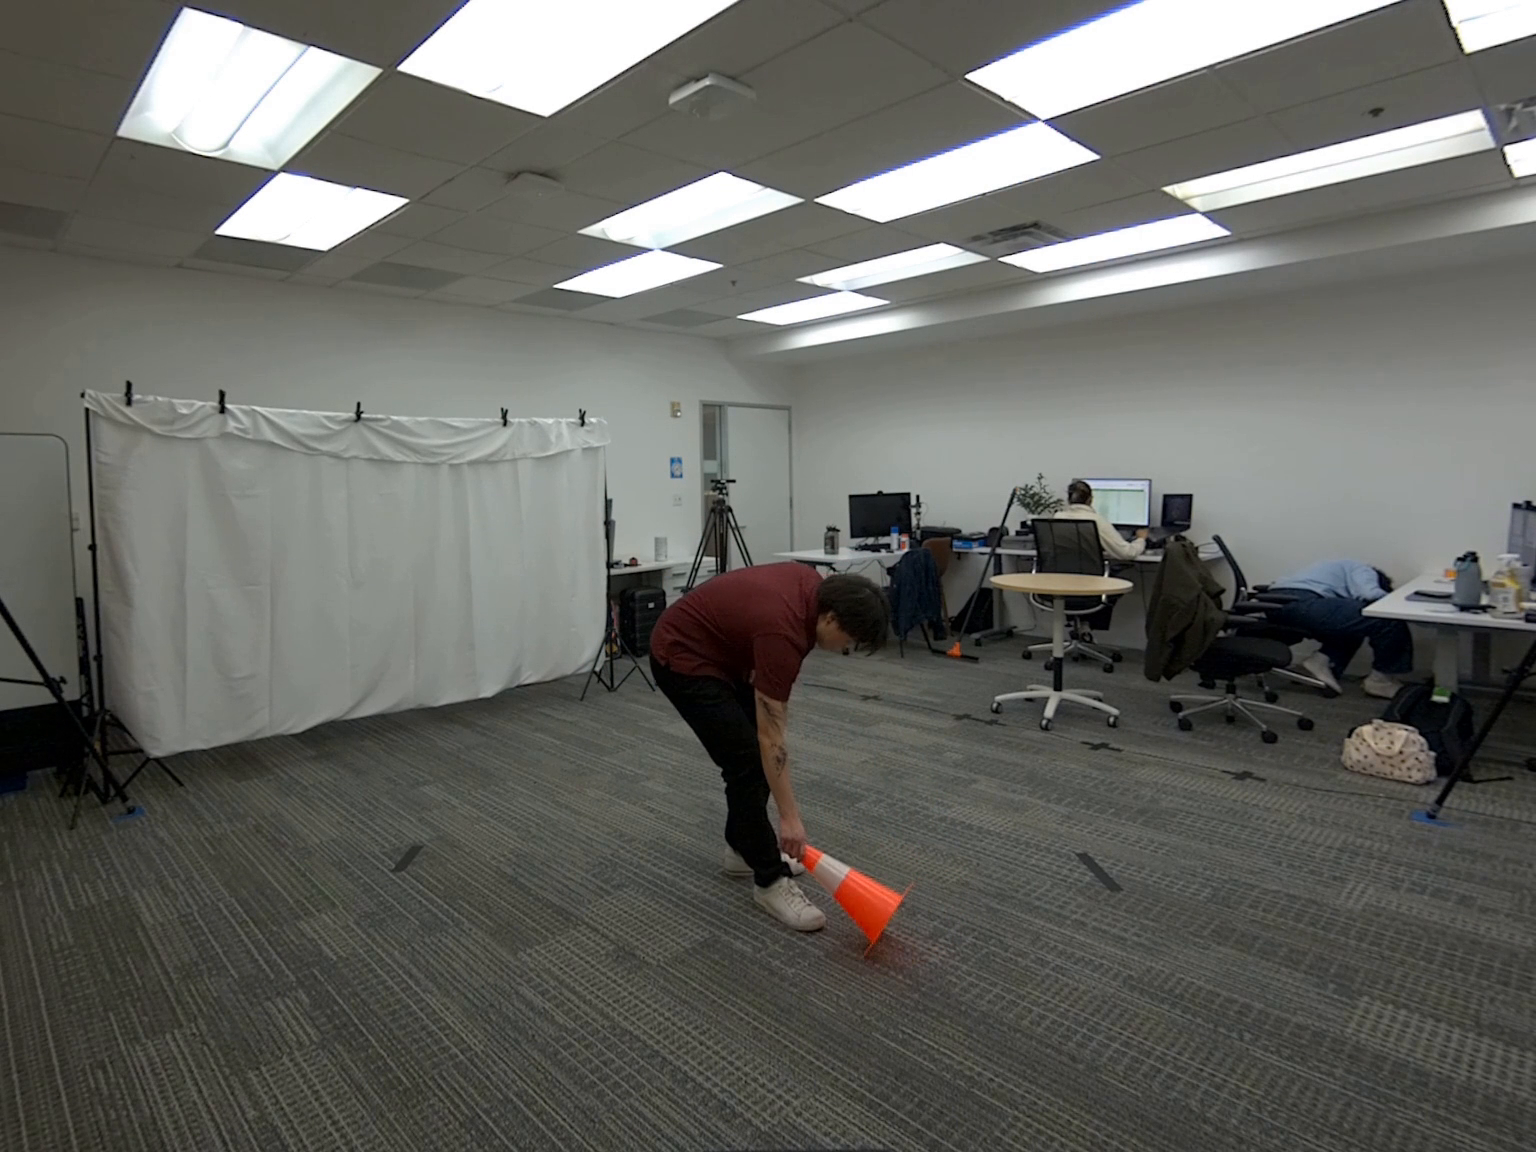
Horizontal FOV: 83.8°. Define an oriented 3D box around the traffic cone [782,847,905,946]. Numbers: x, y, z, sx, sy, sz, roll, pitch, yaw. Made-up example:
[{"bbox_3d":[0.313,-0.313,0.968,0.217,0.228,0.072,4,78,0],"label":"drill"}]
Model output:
[{"bbox_3d":[0.214,0.924,2.589,0.392,0.202,0.202,33,20,17],"label":"traffic cone"}]
